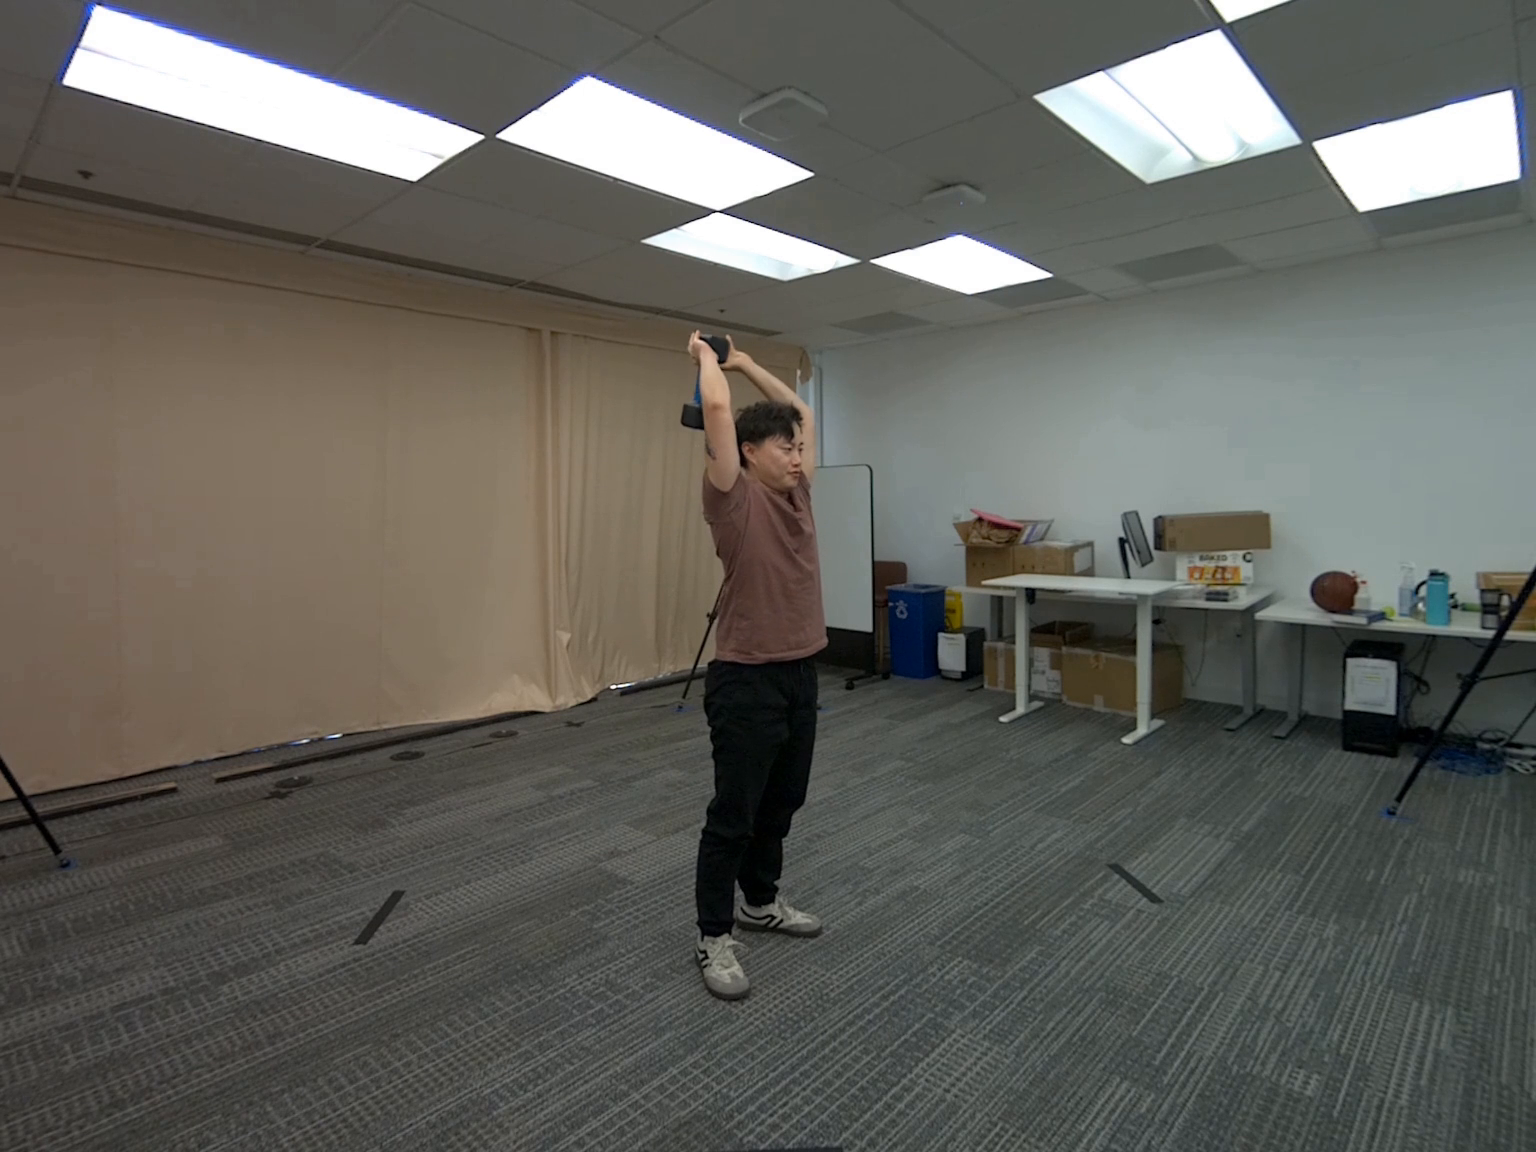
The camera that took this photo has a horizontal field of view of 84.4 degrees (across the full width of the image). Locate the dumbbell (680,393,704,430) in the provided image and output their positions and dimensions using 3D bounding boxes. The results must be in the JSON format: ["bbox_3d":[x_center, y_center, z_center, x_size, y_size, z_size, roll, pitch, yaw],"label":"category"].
[{"bbox_3d":[-0.187,-0.597,2.655,0.127,0.292,0.105,23,18,35],"label":"dumbbell"}]
